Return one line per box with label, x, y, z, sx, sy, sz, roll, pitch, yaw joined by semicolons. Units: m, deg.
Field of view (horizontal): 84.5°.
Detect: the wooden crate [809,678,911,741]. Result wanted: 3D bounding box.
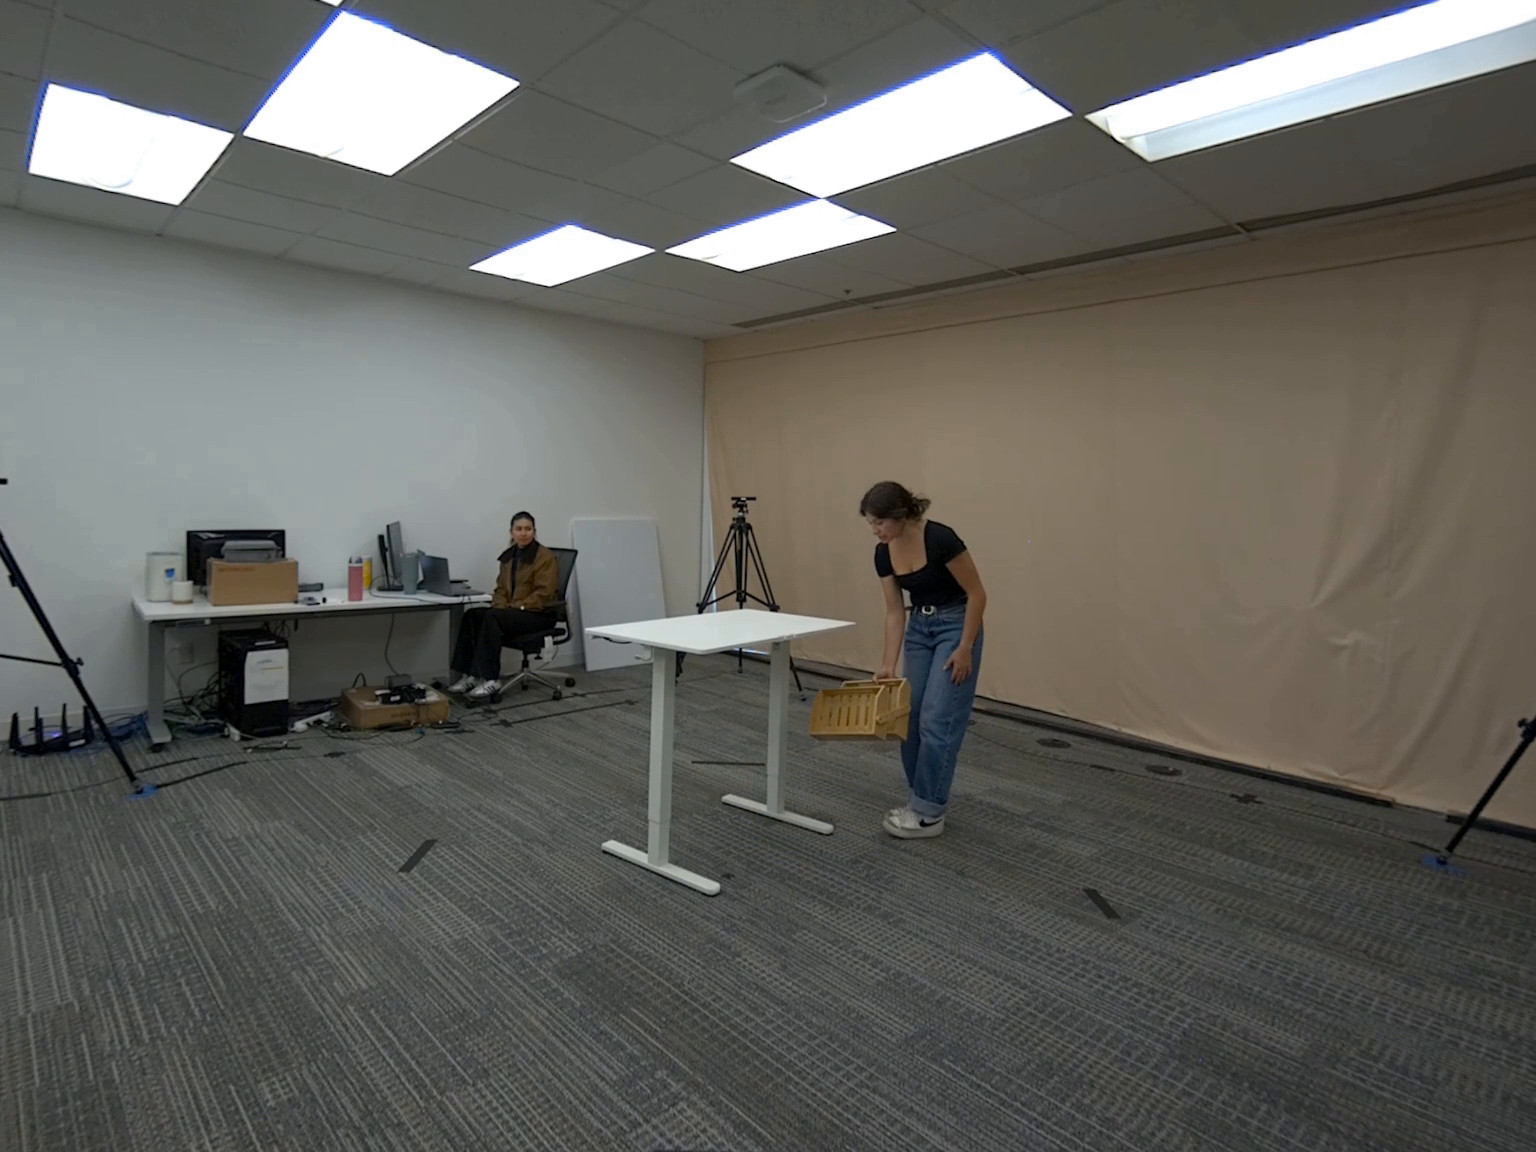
wooden crate;0.373;0.543;3.448;0.330;0.306;0.264;-10;-31;37
